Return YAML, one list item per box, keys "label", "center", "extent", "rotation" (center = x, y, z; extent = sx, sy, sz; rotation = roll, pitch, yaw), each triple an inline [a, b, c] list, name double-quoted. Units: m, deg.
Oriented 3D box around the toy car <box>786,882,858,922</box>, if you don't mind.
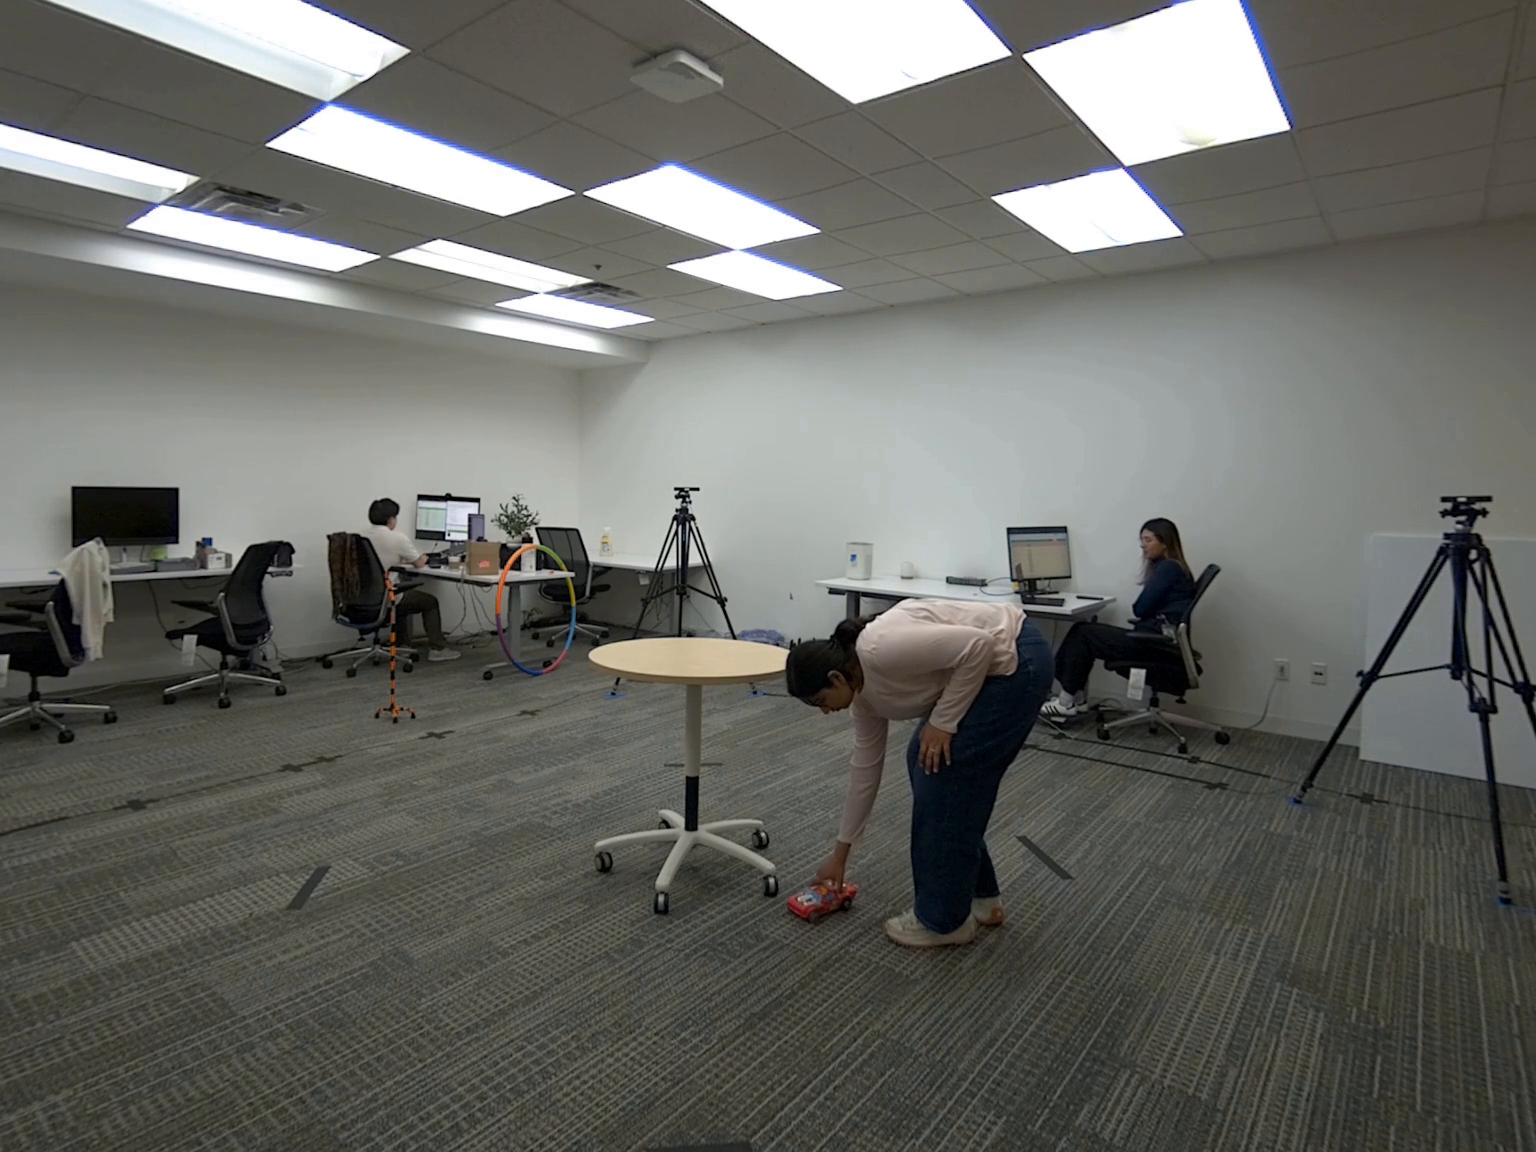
- label: "toy car"
  center: [0.183, 1.076, 2.829]
  extent: [0.249, 0.082, 0.134]
  rotation: [-16, 13, -34]
